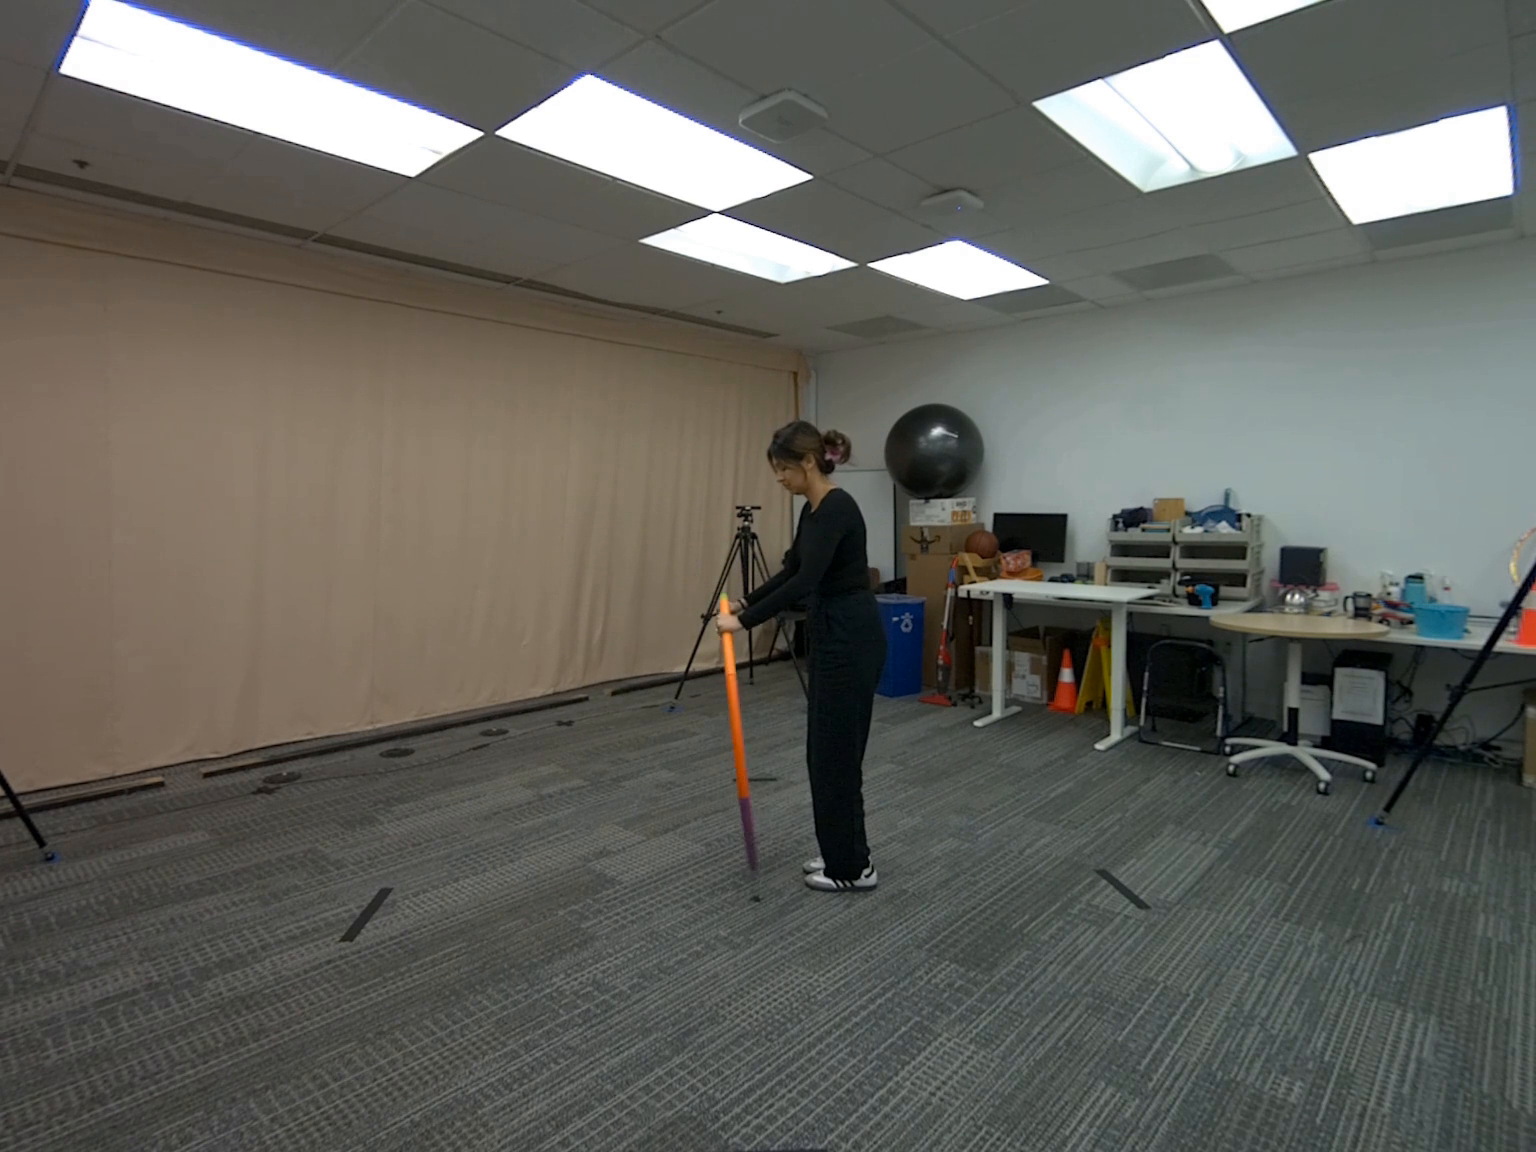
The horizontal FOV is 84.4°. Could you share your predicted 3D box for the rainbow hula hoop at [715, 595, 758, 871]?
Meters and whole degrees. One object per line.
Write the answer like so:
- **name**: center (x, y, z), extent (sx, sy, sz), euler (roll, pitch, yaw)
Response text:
- **rainbow hula hoop**: center (-0.132, 0.539, 3.079), extent (0.035, 0.976, 0.982), euler (-5, 4, -3)
